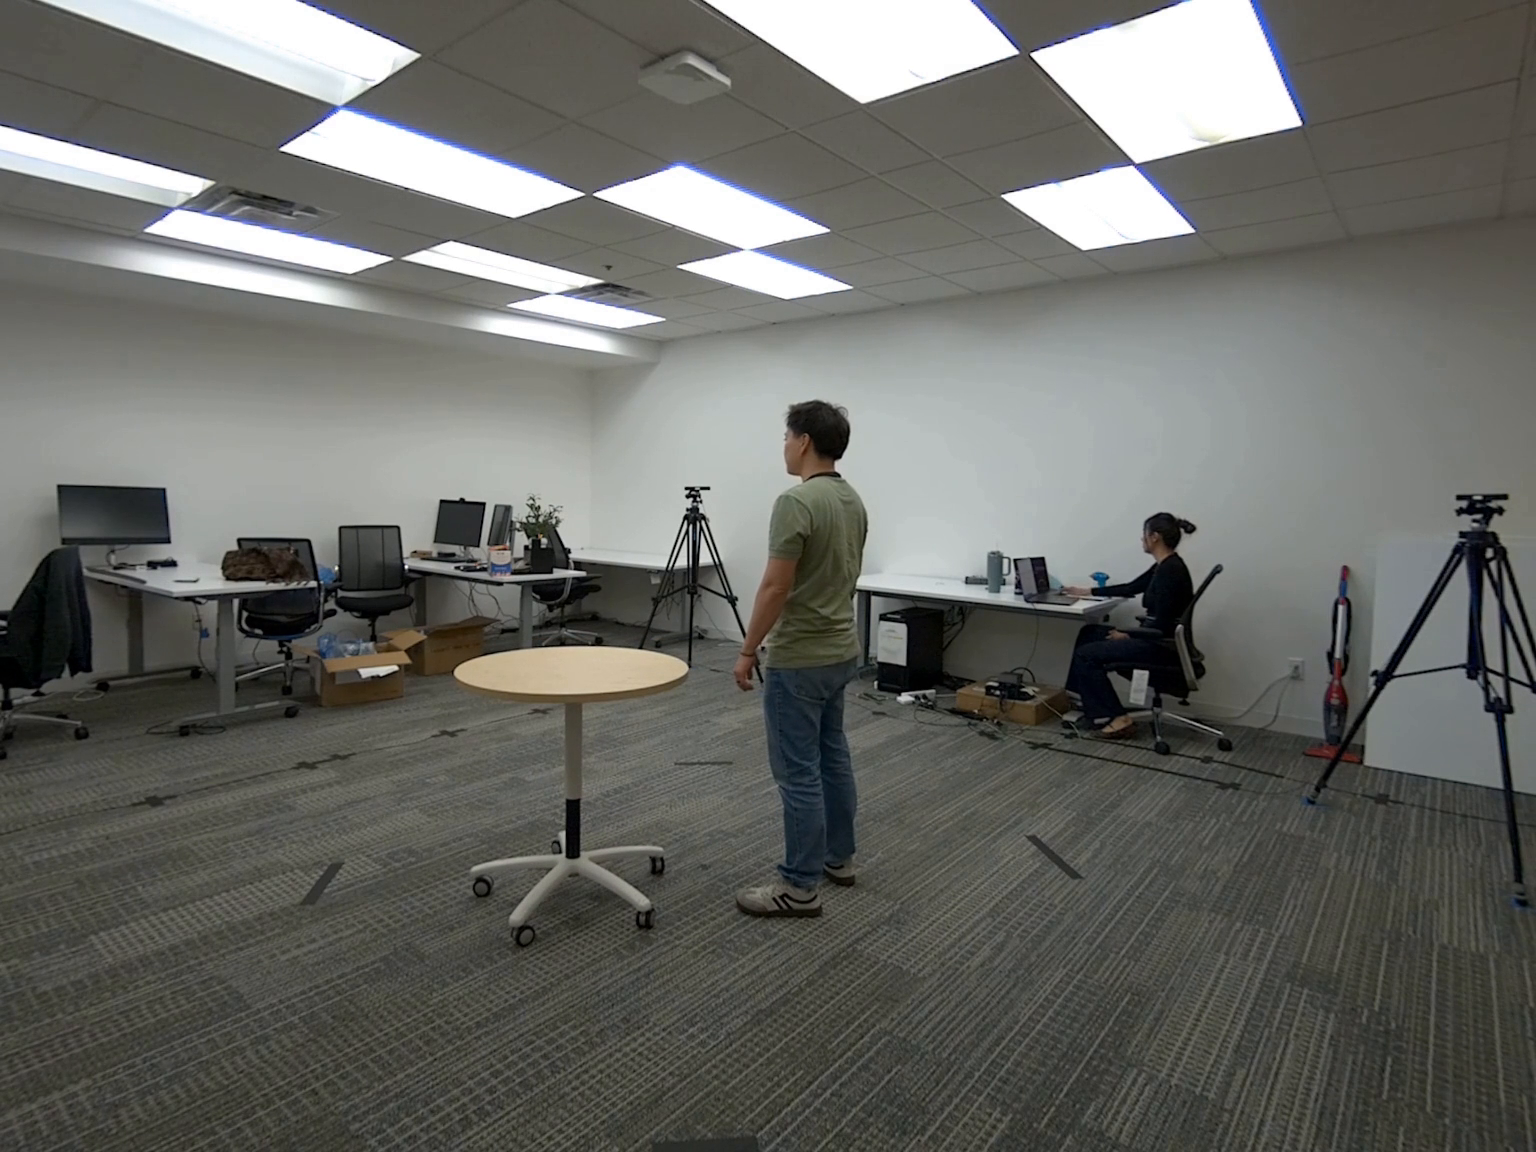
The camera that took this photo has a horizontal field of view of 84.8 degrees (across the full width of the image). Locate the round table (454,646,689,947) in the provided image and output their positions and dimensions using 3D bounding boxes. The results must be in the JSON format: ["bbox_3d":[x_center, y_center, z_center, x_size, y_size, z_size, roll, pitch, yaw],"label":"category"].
[{"bbox_3d":[-0.665,0.697,2.858,0.763,0.792,0.767,1,4,-2],"label":"round table"}]
